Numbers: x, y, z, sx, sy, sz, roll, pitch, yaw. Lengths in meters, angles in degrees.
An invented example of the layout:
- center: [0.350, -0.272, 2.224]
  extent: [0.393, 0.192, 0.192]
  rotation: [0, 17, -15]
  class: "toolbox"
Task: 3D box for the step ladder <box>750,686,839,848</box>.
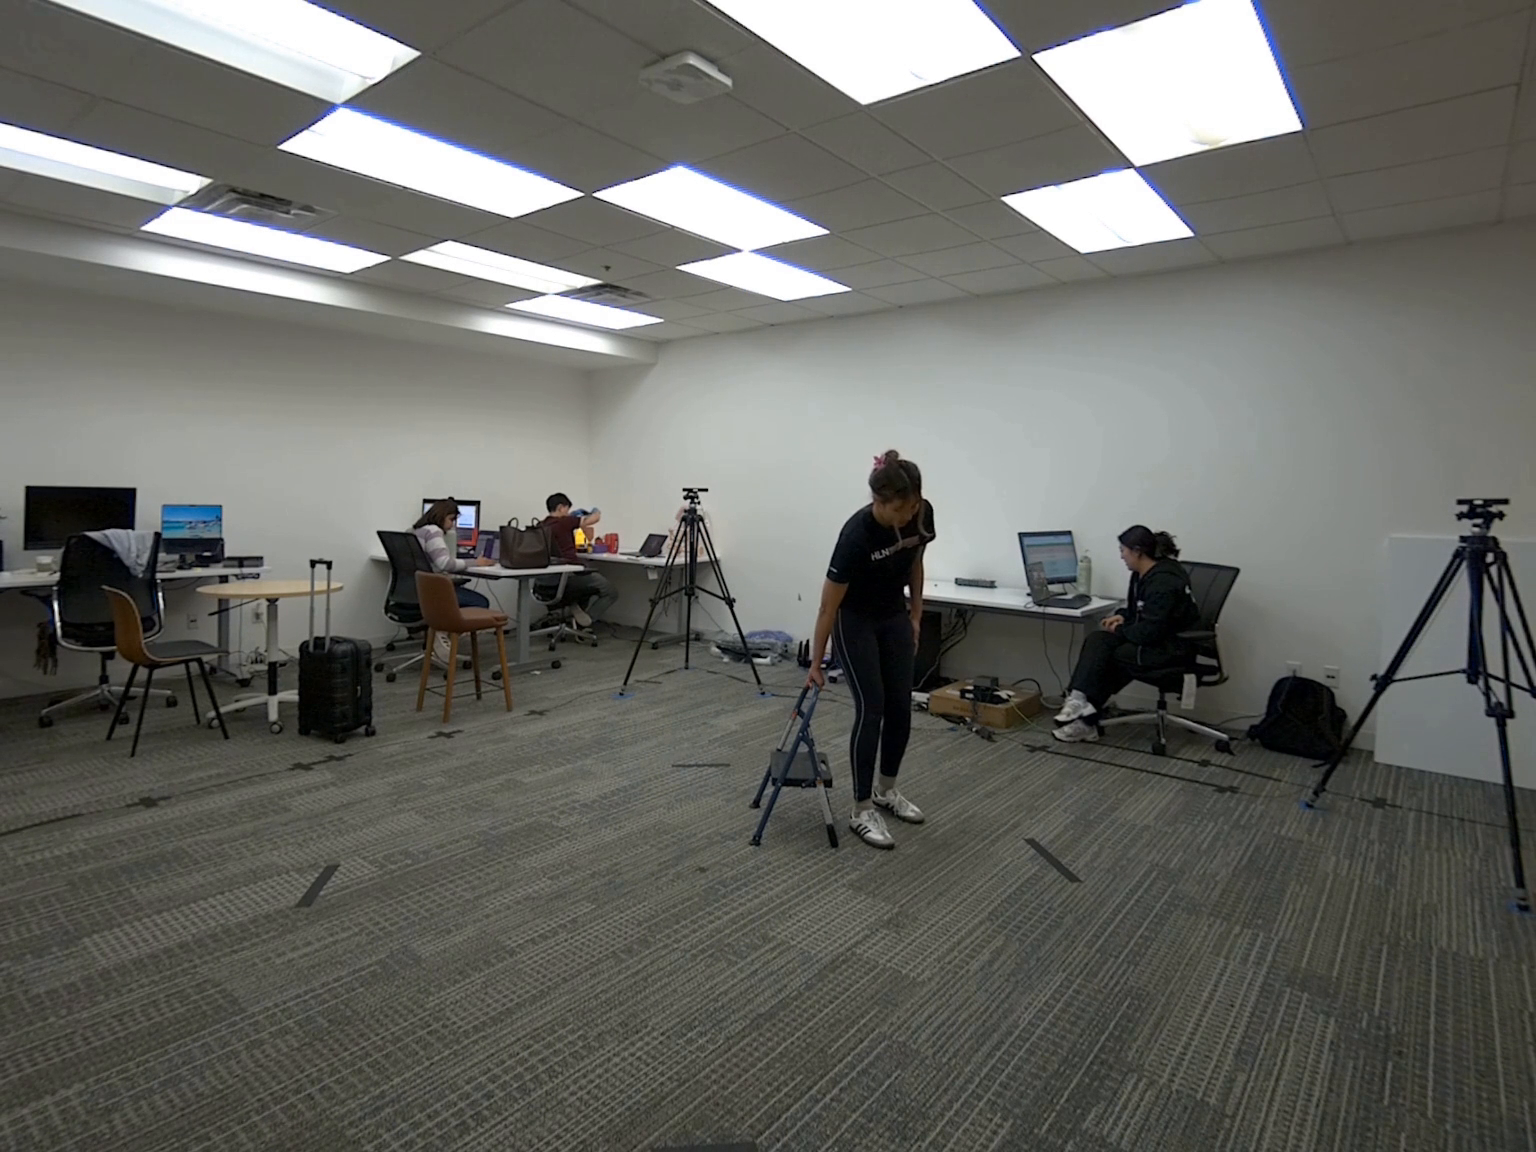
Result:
- center: [0.099, 0.740, 3.517]
  extent: [0.349, 0.604, 0.432]
  rotation: [1, 3, -1]
  class: "step ladder"
